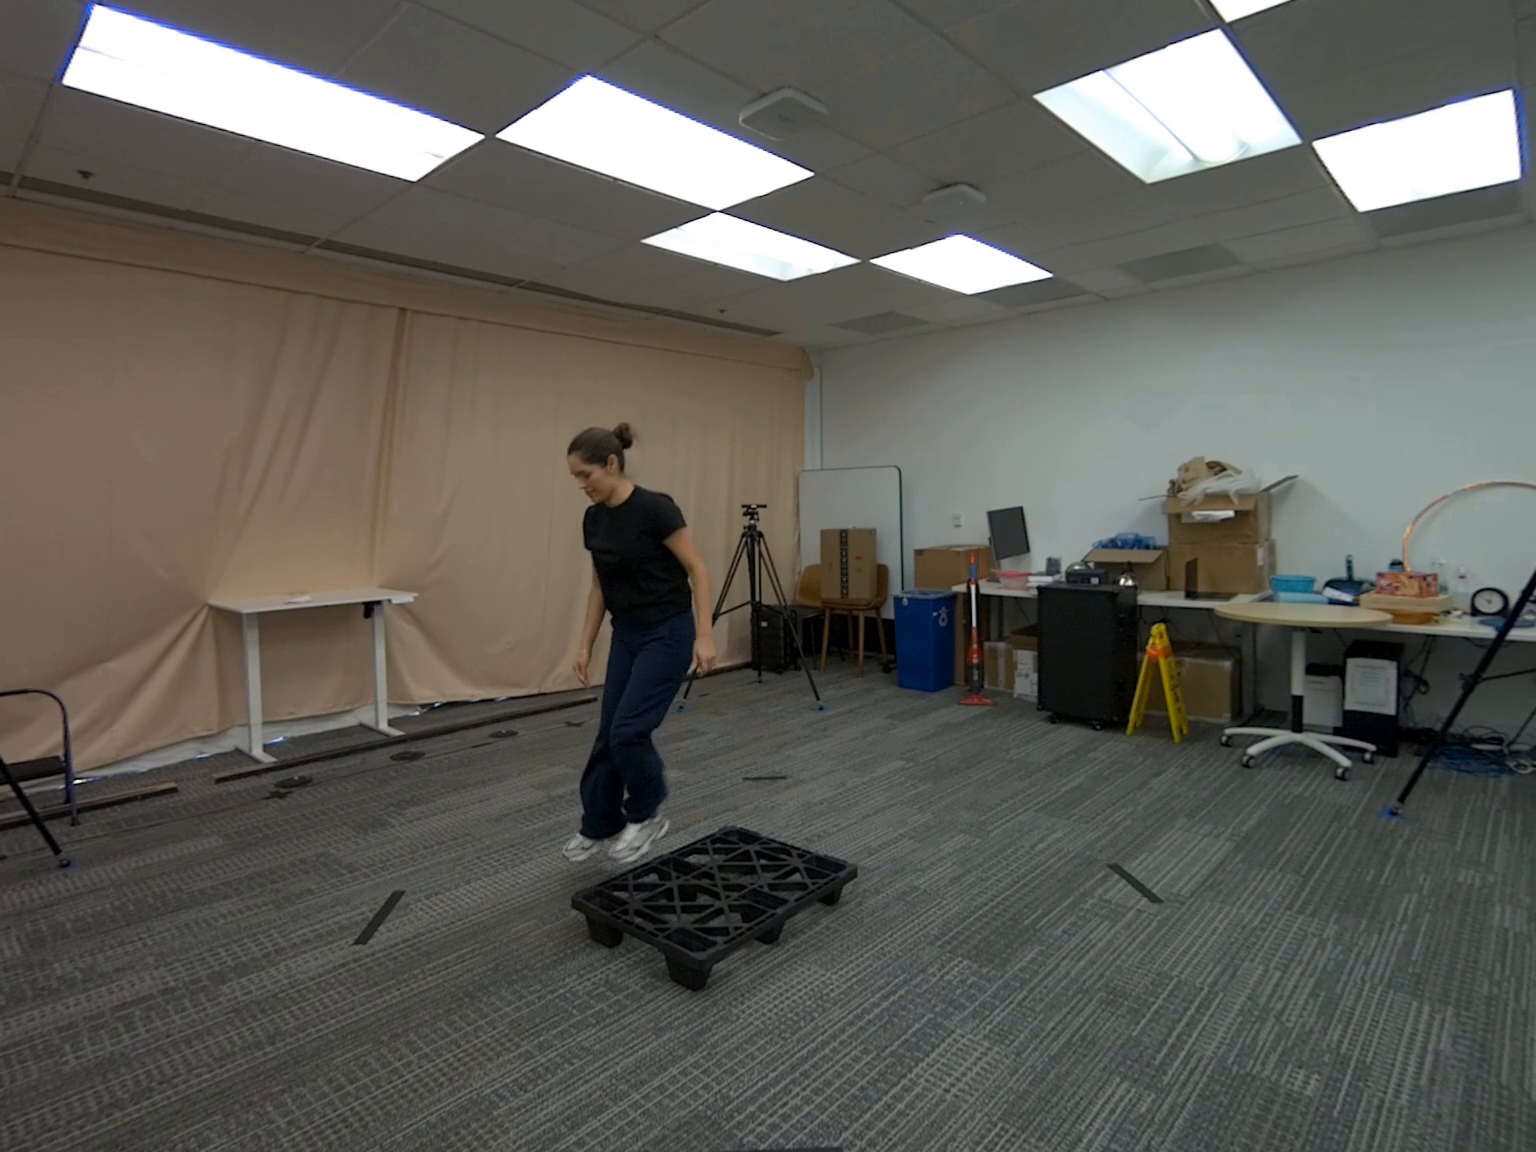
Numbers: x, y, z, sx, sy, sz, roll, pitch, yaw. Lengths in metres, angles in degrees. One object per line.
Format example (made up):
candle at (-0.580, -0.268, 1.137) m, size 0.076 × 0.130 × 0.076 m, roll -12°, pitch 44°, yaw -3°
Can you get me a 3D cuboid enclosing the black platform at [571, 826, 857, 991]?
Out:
black platform at (-0.153, 1.090, 2.831) m, size 0.625 × 0.143 × 0.781 m, roll 3°, pitch 6°, yaw 40°
